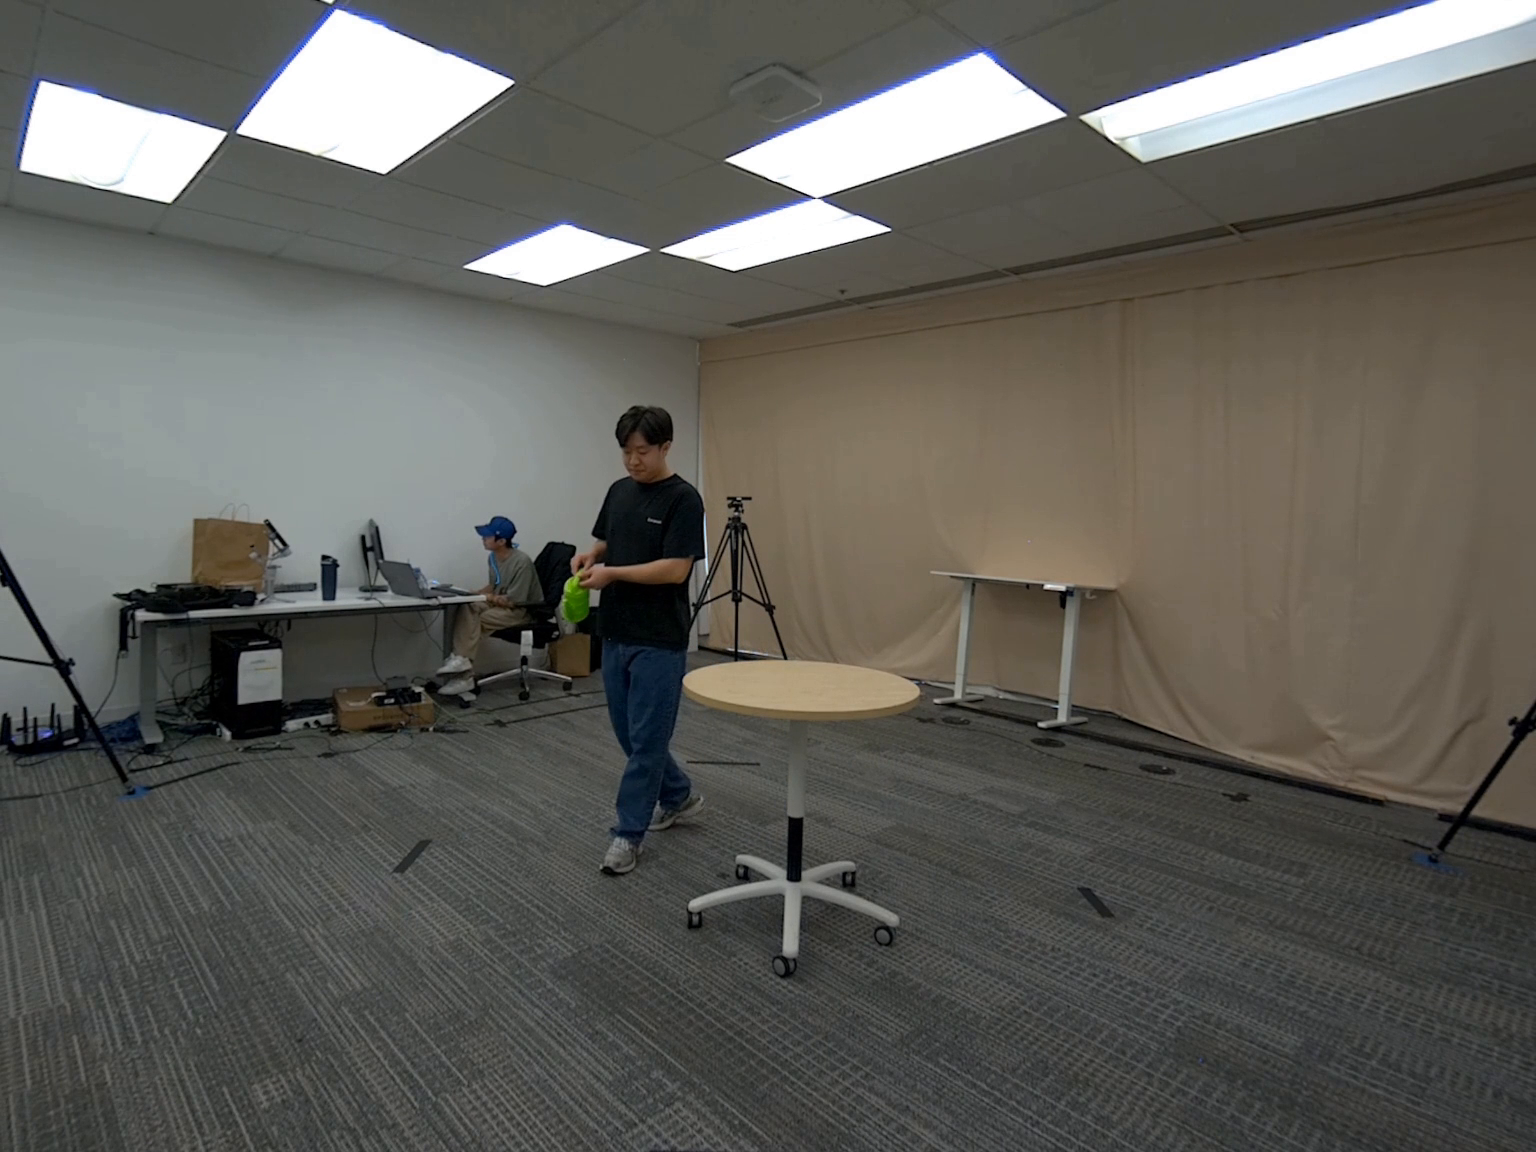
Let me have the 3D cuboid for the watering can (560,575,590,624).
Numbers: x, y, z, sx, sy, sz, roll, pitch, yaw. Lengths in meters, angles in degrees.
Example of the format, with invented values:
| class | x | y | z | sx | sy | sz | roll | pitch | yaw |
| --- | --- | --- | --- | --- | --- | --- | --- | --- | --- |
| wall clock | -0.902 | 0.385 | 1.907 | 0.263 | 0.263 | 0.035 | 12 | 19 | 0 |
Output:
| class | x | y | z | sx | sy | sz | roll | pitch | yaw |
| --- | --- | --- | --- | --- | --- | --- | --- | --- | --- |
| watering can | -0.731 | 0.095 | 3.128 | 0.099 | 0.174 | 0.279 | 16 | 31 | 12 |
